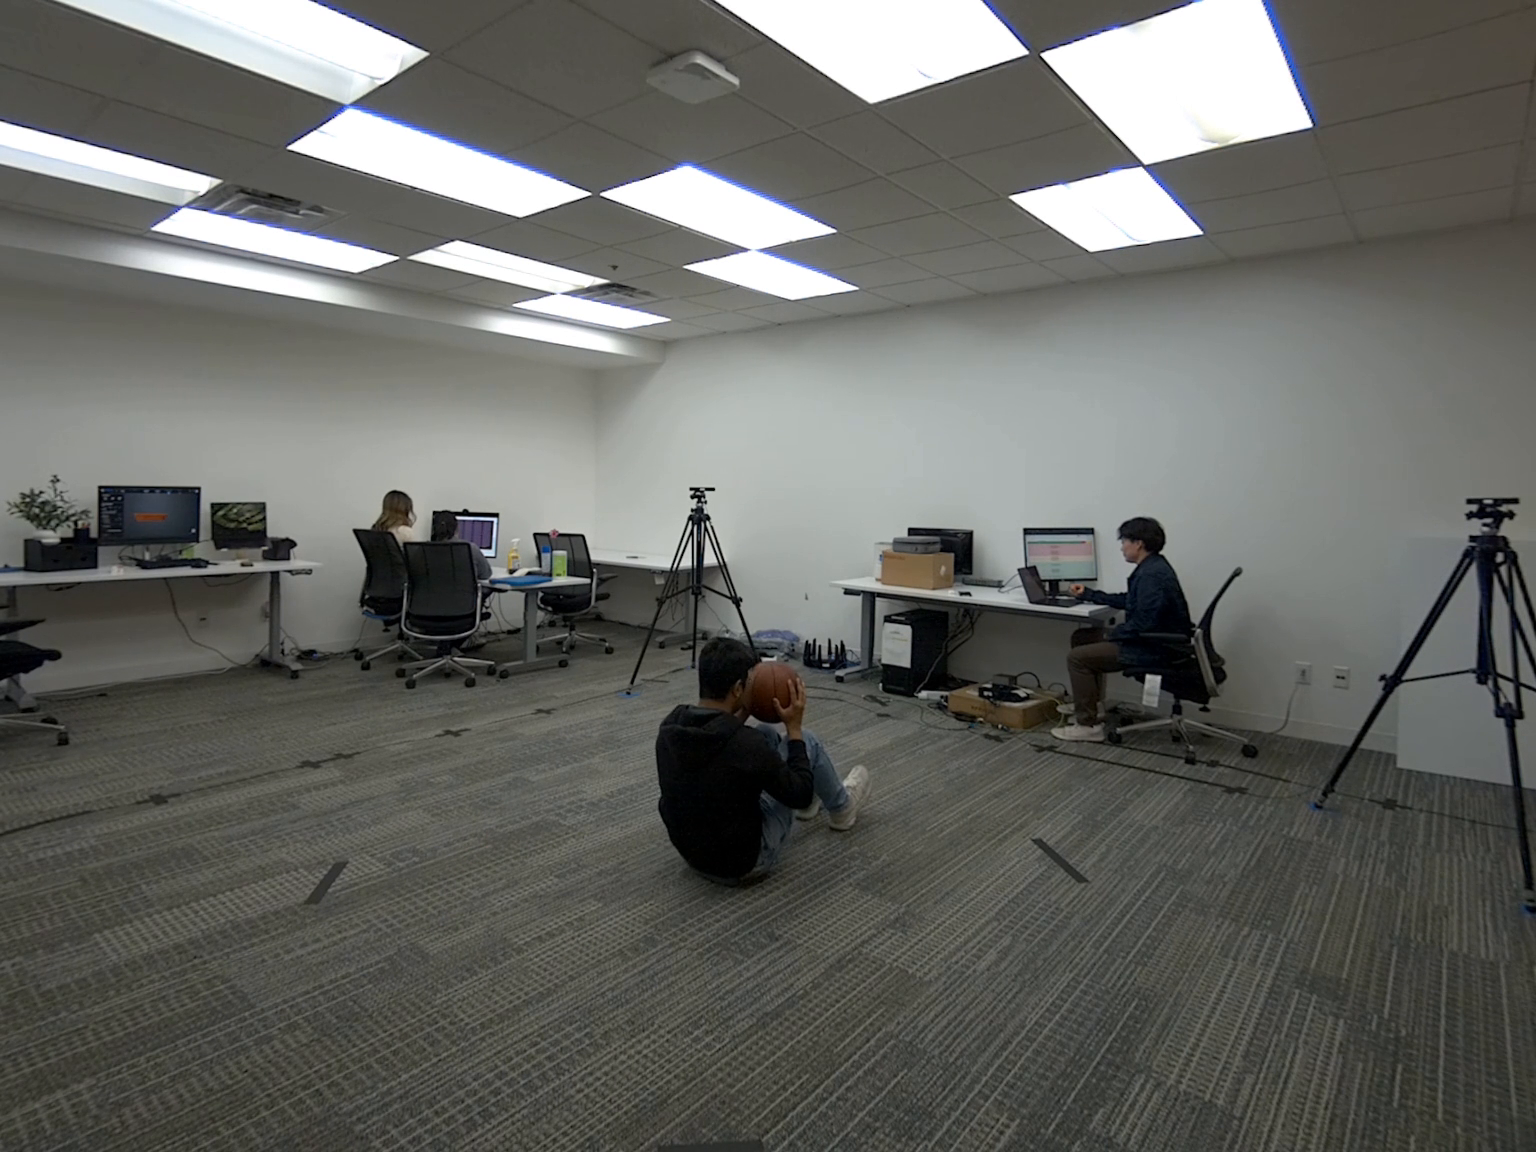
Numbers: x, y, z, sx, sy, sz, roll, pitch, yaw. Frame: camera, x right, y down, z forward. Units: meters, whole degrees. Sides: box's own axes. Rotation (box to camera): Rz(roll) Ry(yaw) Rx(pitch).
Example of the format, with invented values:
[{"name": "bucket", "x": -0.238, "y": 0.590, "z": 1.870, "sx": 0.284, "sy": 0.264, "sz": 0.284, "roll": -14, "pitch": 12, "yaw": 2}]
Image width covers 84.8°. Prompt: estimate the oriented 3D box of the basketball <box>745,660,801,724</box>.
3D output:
[{"name": "basketball", "x": -0.001, "y": 0.439, "z": 3.270, "sx": 0.235, "sy": 0.235, "sz": 0.237, "roll": 1, "pitch": 4, "yaw": -2}]
